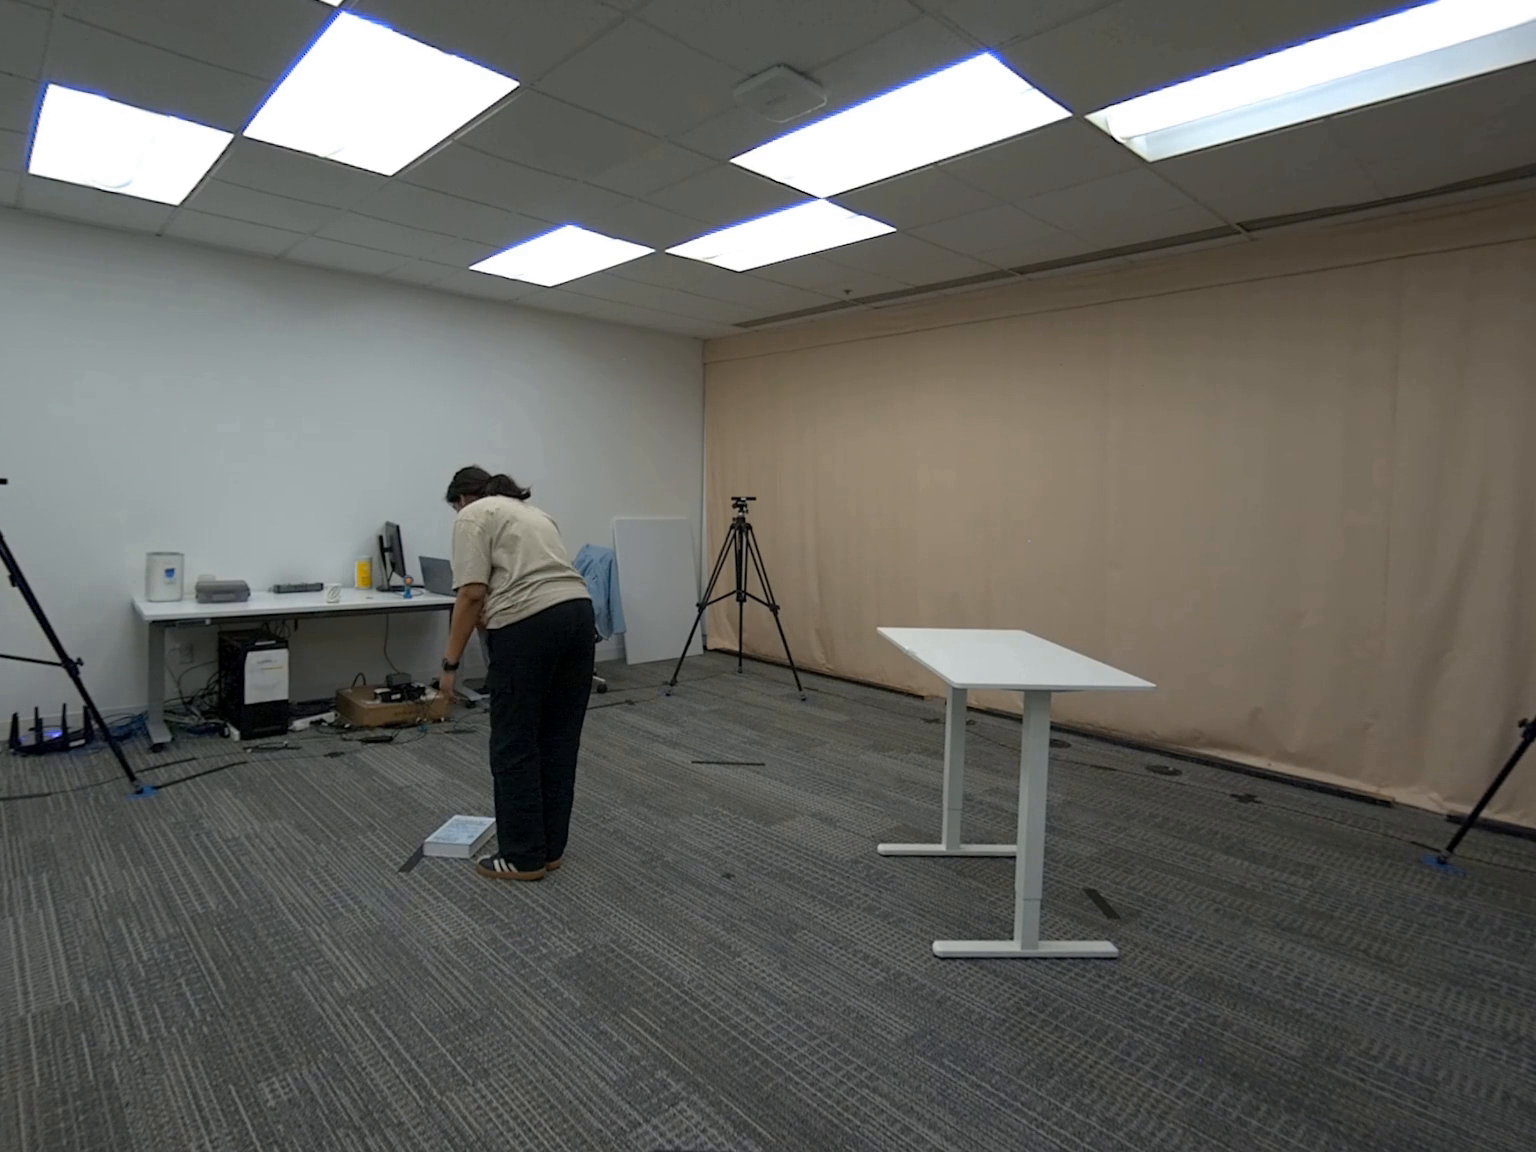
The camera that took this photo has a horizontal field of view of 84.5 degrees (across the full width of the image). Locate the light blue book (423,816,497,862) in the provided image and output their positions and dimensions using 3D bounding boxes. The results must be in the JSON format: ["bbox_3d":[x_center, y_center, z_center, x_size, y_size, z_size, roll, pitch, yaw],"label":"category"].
[{"bbox_3d":[-1.207,1.030,3.335,0.192,0.059,0.261,2,6,5],"label":"light blue book"}]
